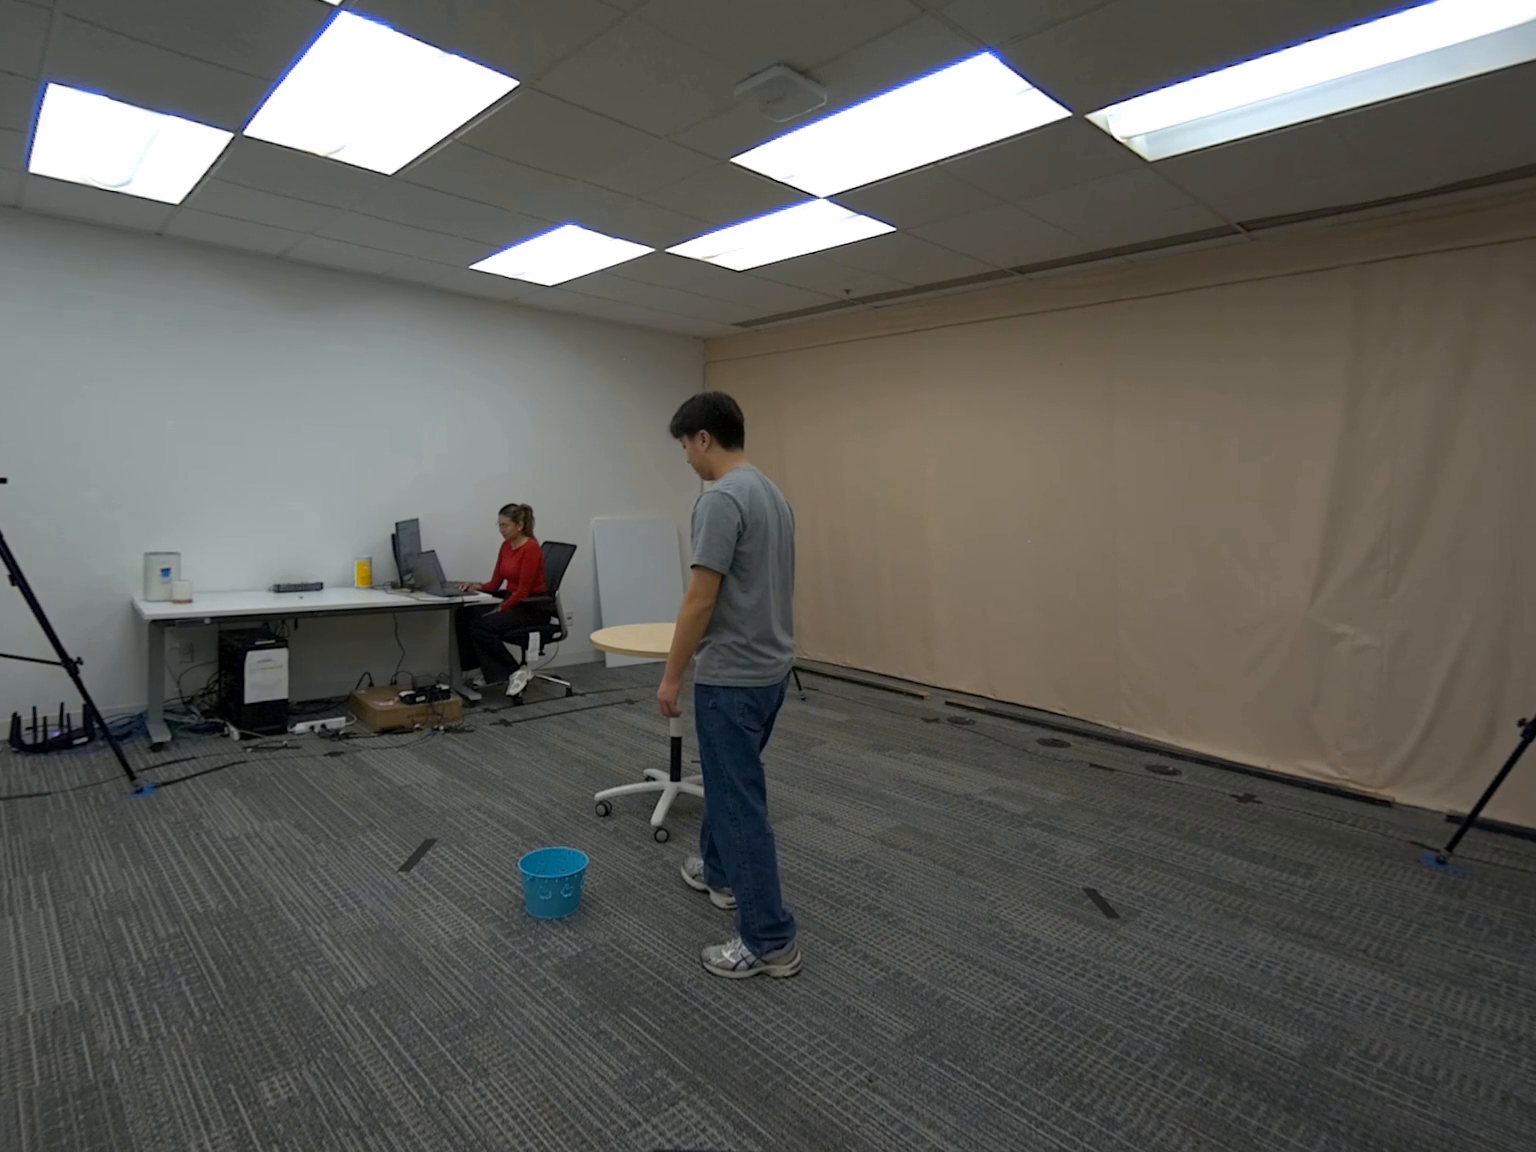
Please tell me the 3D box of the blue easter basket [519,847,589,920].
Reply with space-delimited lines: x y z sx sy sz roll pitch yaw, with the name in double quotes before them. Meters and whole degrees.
"blue easter basket" -0.732 1.036 2.849 0.243 0.155 0.244 2 5 -2
